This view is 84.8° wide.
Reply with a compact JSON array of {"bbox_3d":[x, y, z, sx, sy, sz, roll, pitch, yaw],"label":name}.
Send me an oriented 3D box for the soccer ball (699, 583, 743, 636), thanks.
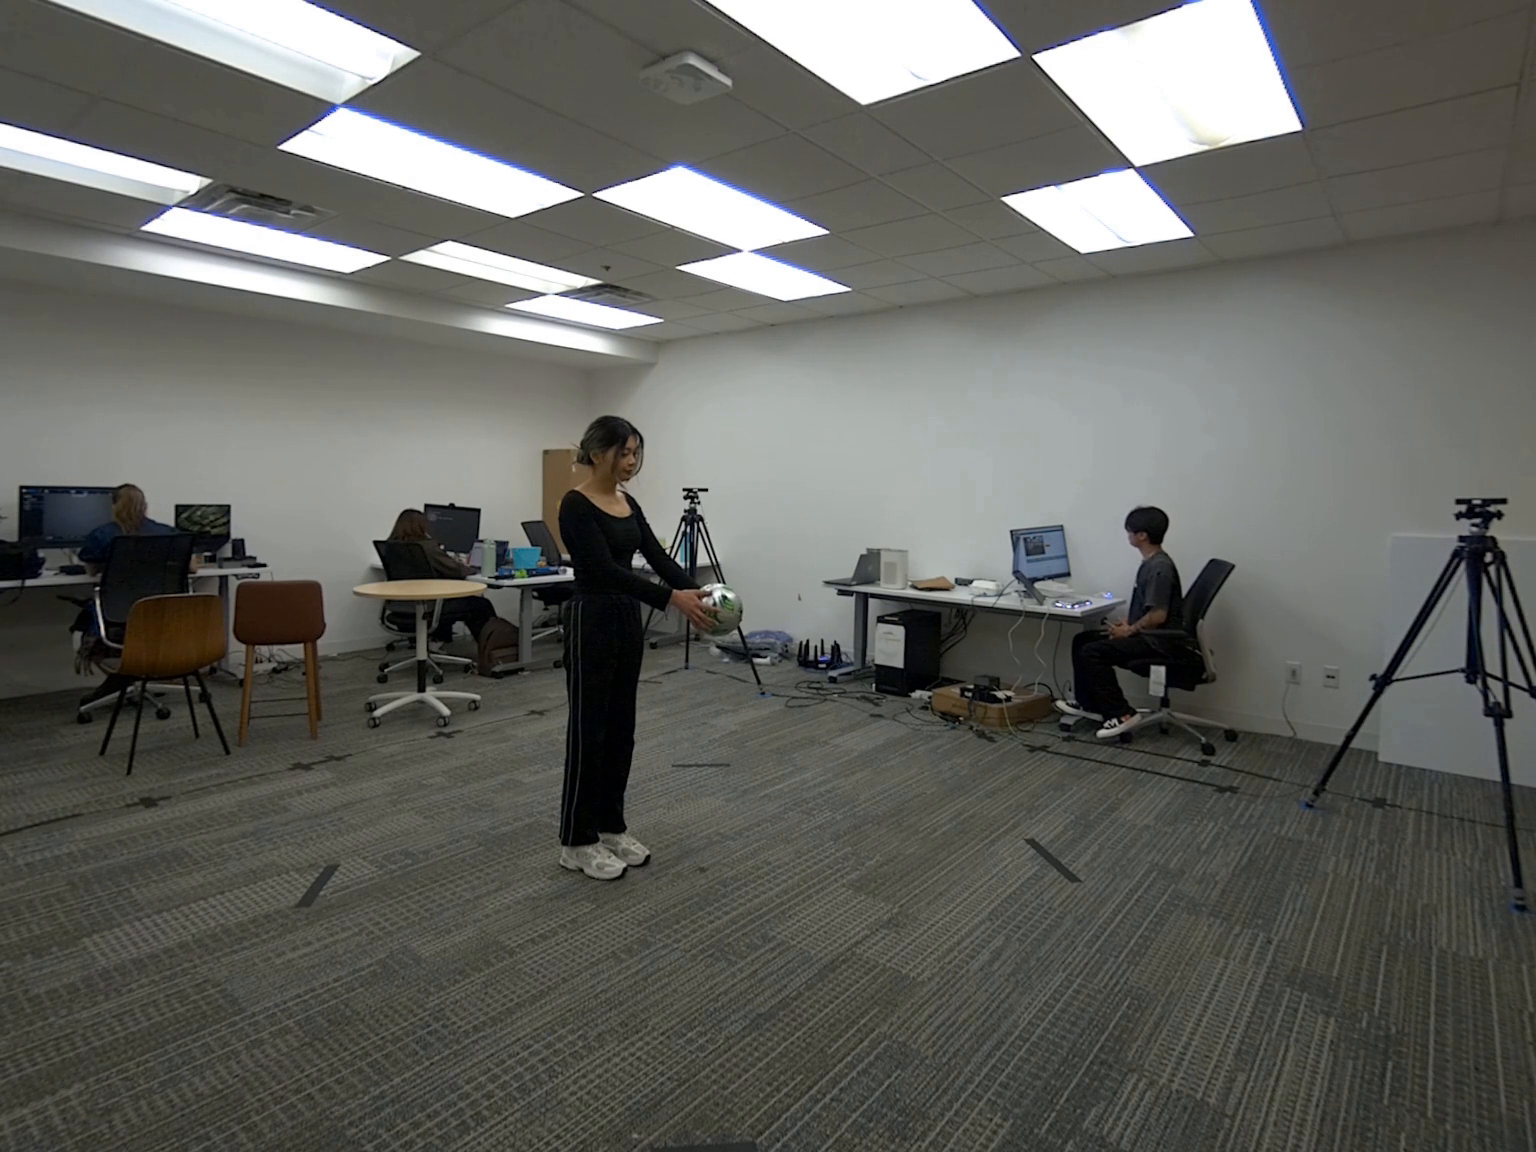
[{"bbox_3d":[-0.192,0.115,2.979,0.187,0.187,0.188,1,4,-2],"label":"soccer ball"}]
